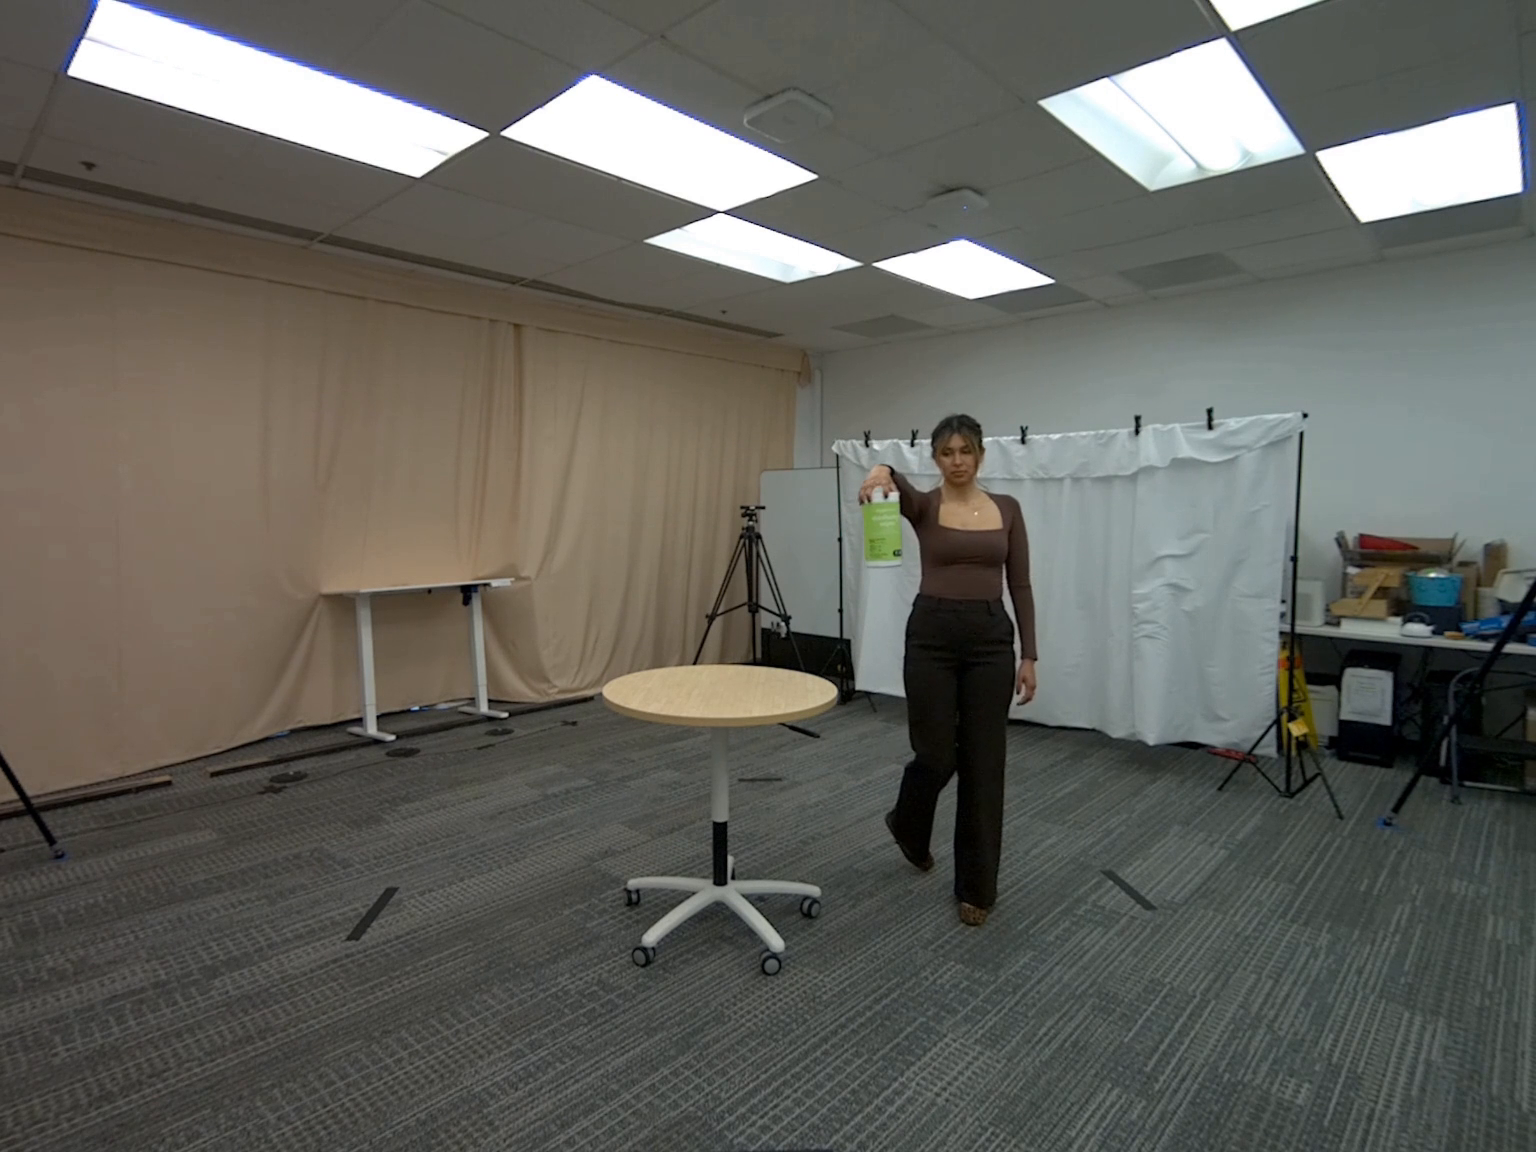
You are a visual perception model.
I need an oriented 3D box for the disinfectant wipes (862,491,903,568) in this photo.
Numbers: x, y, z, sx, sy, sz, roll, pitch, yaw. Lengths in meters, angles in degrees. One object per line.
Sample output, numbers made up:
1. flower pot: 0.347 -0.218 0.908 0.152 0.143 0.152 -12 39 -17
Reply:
1. disinfectant wipes: 0.337 -0.128 2.453 0.118 0.217 0.118 -4 3 -2
